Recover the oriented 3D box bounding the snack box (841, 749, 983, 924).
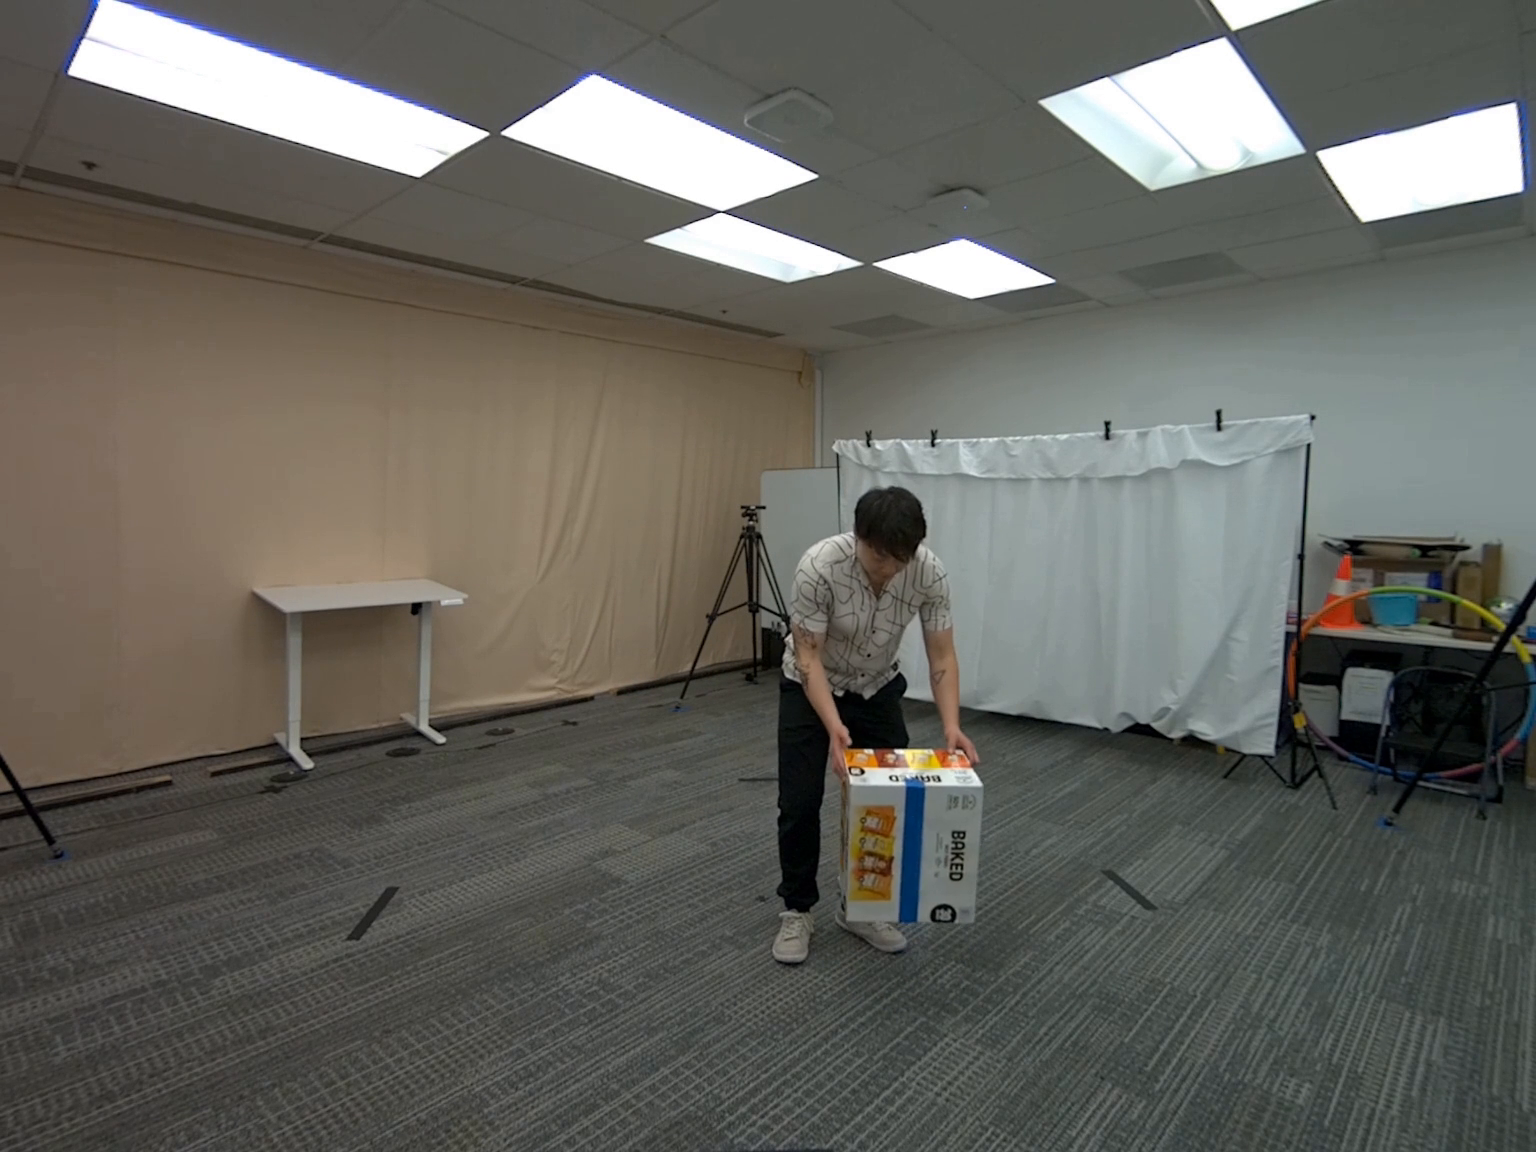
[{"bbox_3d":[0.382,0.703,2.300,0.341,0.402,0.207,0,12,1],"label":"snack box"}]
